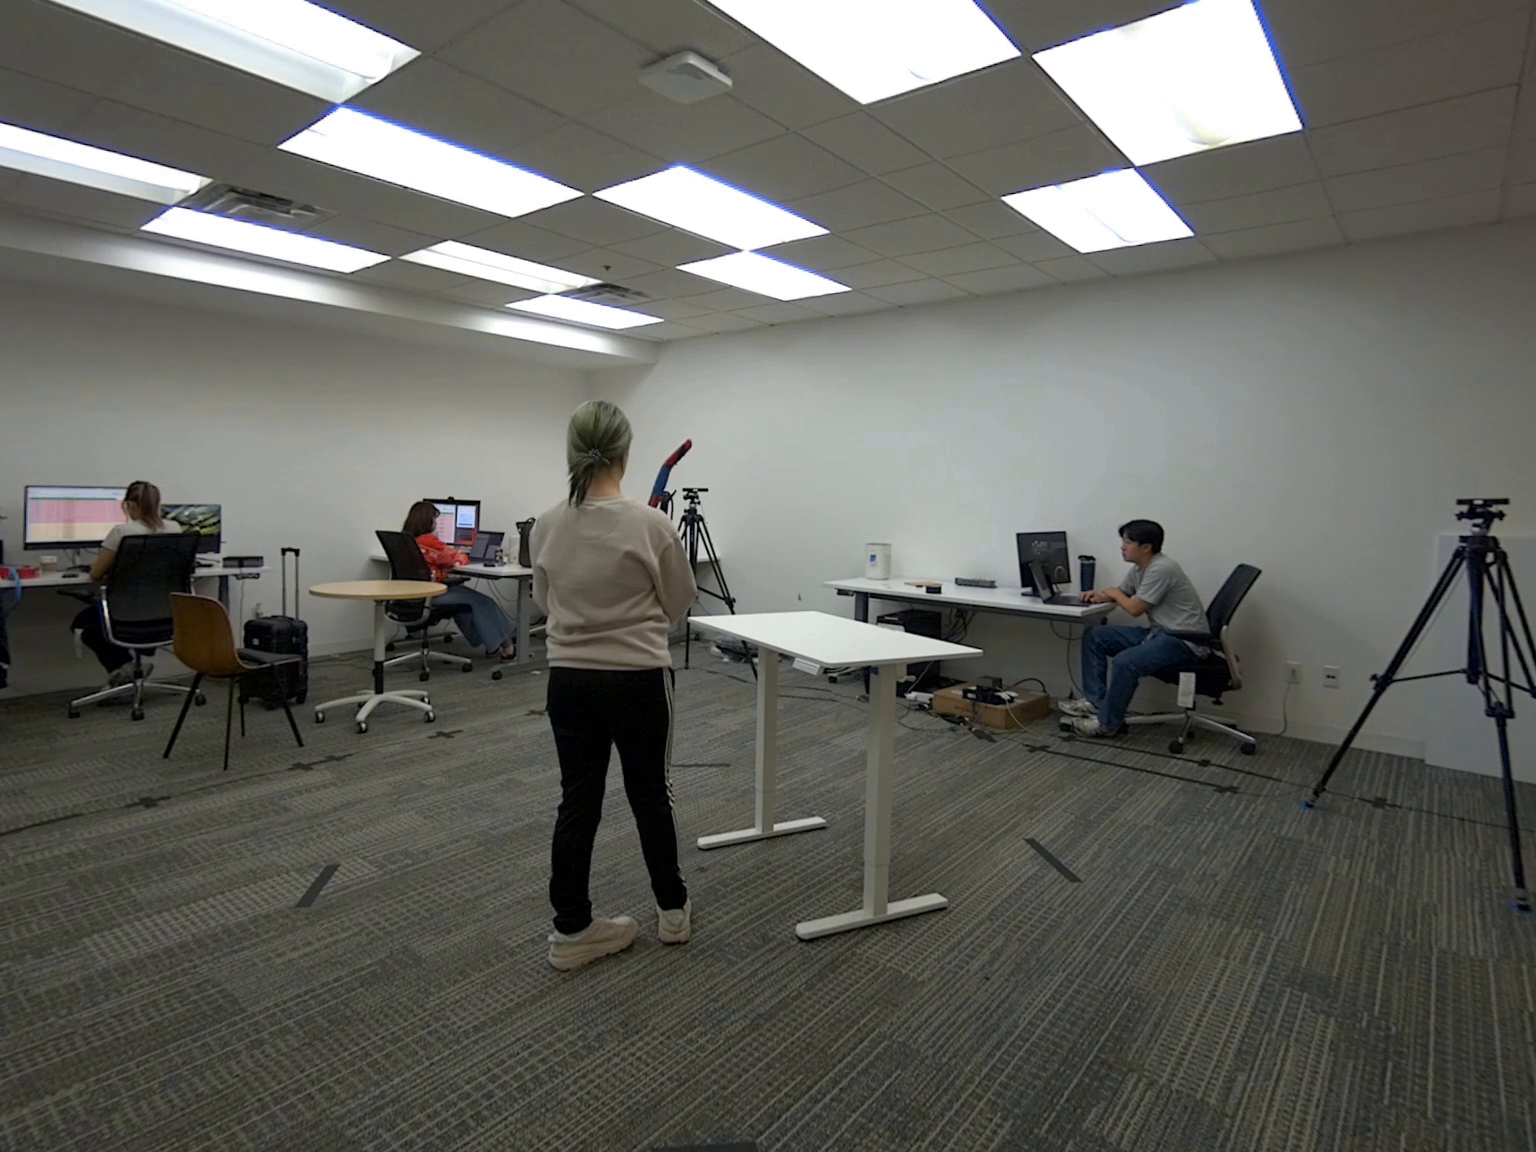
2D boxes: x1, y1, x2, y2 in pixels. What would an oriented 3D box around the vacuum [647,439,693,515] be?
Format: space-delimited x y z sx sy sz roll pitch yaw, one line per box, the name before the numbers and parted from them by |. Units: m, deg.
vacuum | -0.427 0.066 2.746 0.147 1.044 0.249 21 8 14
